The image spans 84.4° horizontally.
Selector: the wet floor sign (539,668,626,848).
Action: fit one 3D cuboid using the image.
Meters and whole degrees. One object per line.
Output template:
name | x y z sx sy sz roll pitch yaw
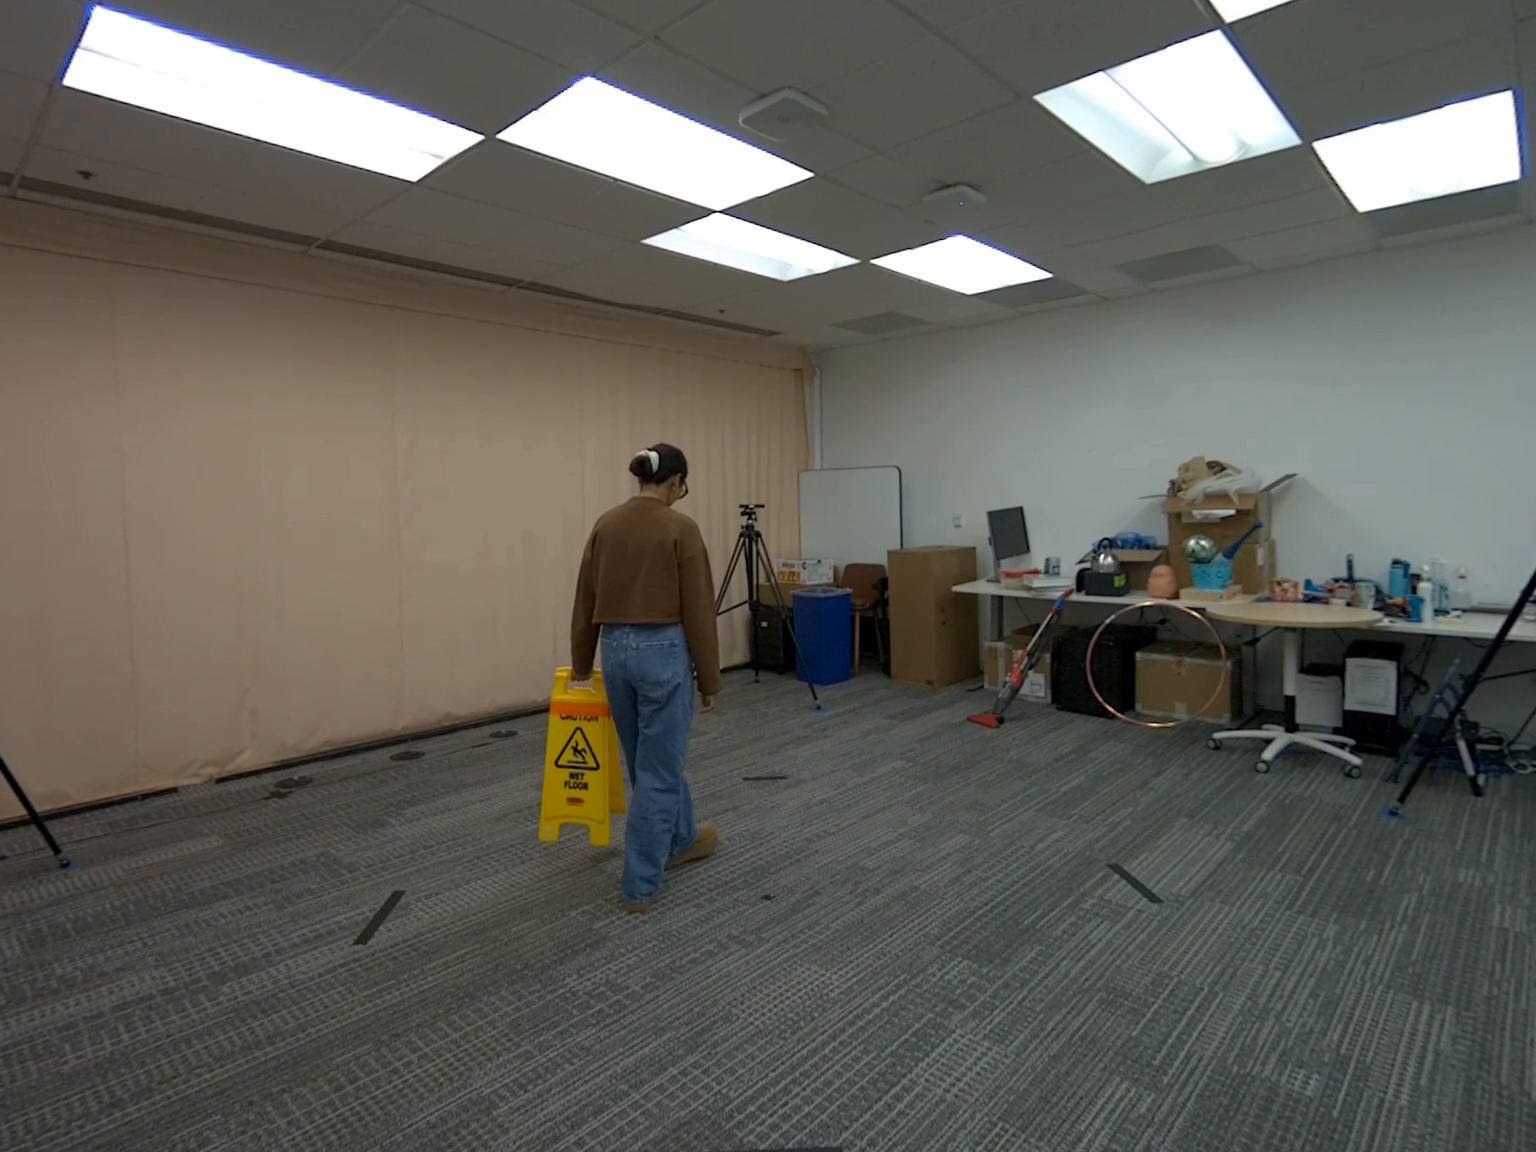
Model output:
wet floor sign | -0.726 0.681 3.276 0.284 0.642 0.289 1 9 6
